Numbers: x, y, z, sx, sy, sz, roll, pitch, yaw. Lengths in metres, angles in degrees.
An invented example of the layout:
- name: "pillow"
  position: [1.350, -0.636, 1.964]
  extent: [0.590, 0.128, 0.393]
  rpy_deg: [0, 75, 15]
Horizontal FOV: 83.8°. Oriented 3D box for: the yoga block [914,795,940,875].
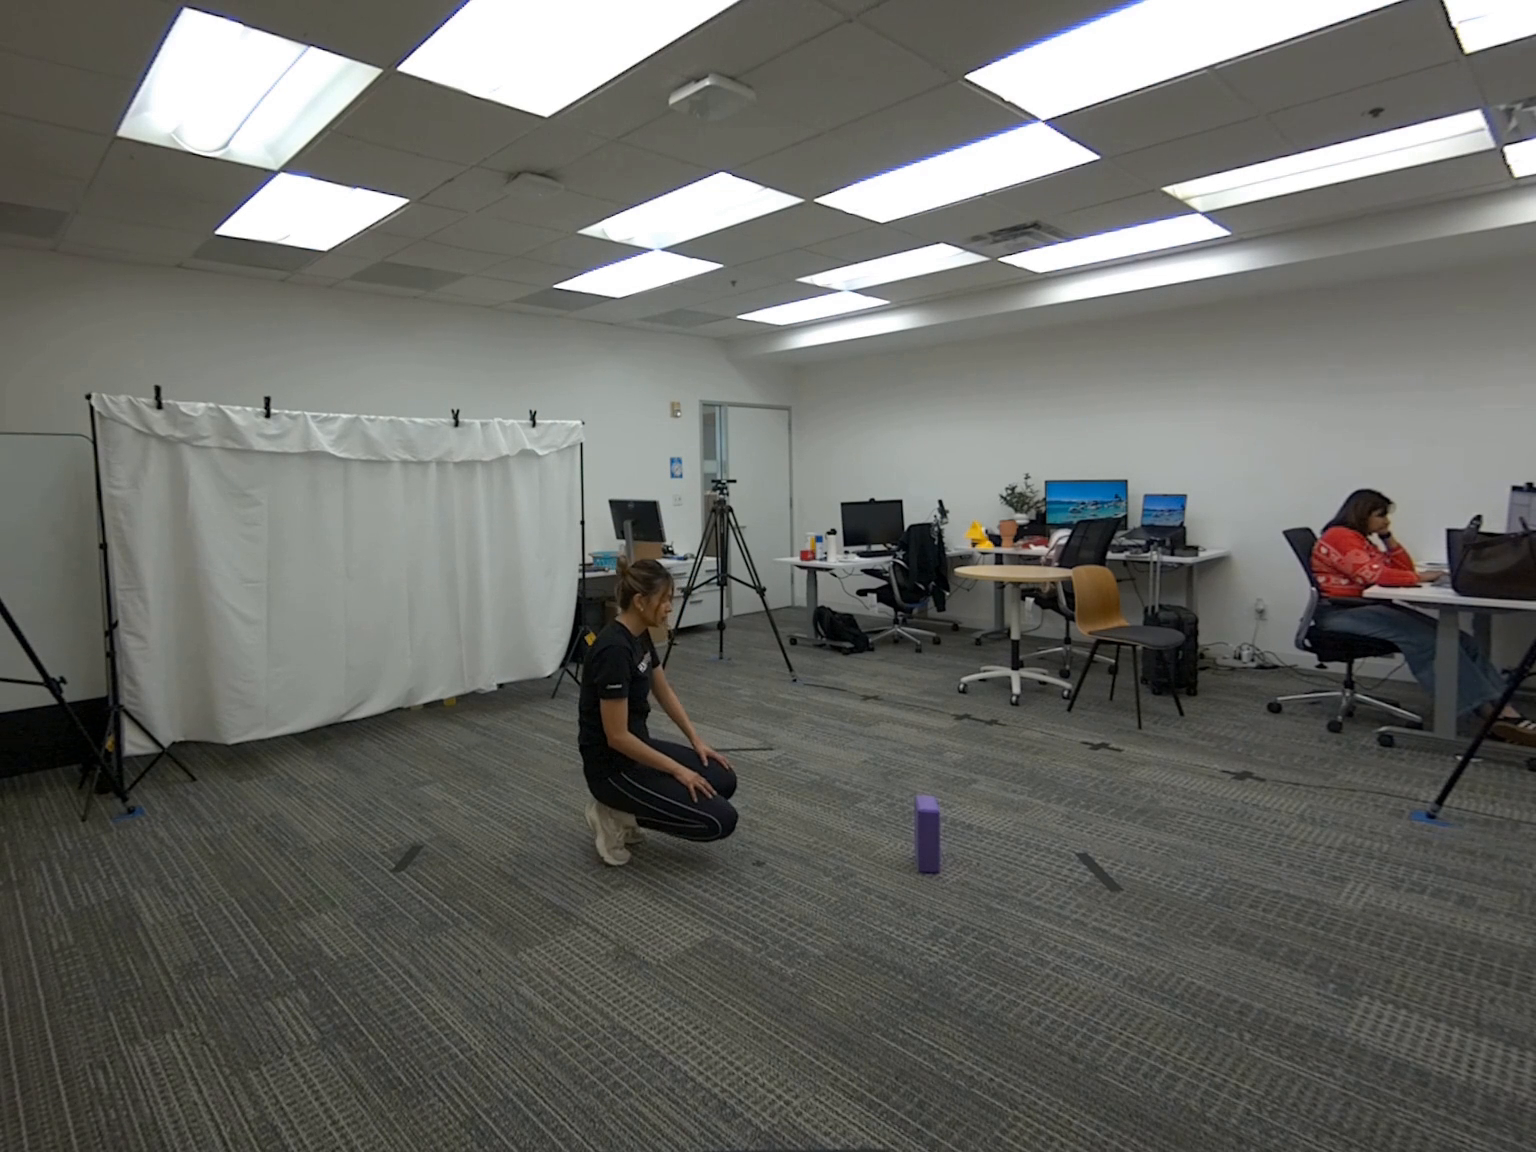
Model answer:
- name: "yoga block"
  position: [0.569, 0.921, 3.064]
  extent: [0.077, 0.229, 0.148]
  rpy_deg: [0, 3, 4]
